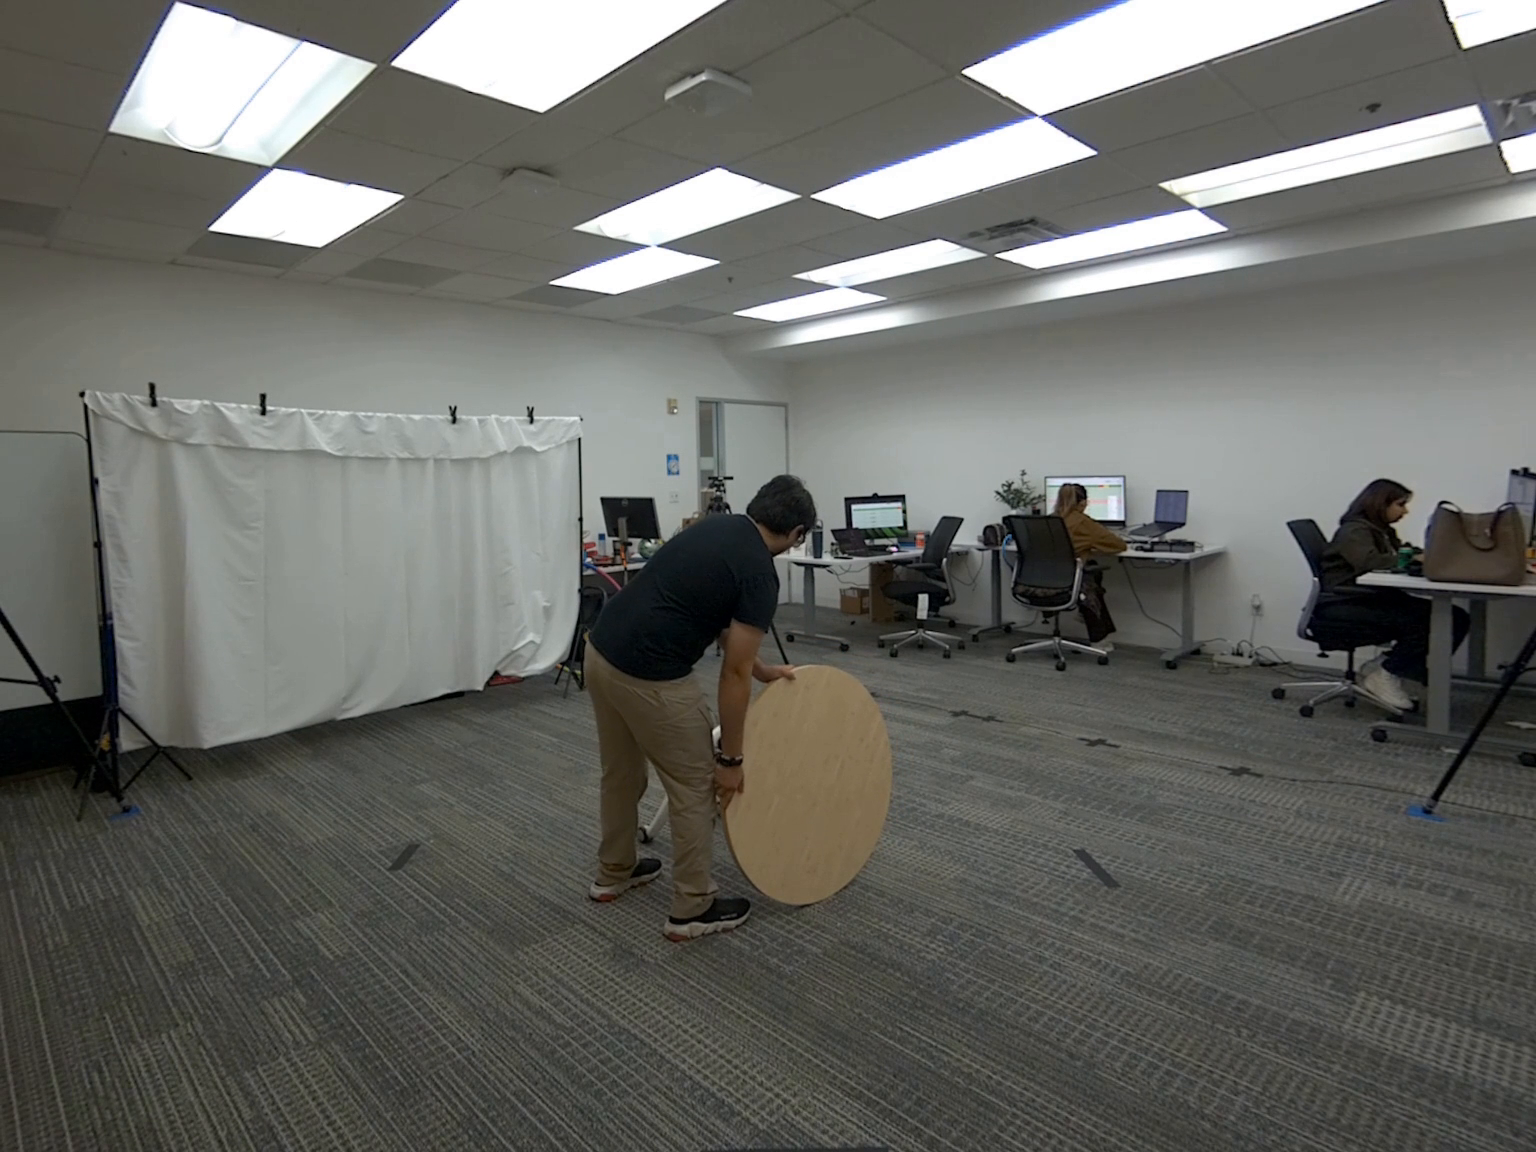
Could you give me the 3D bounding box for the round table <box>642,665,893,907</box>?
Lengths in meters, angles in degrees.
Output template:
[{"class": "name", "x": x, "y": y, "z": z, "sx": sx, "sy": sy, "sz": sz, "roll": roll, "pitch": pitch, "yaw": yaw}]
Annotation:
[{"class": "round table", "x": -0.098, "y": 0.678, "z": 3.135, "sx": 0.764, "sy": 0.784, "sz": 0.808, "roll": -5, "pitch": 2, "yaw": -40}]
